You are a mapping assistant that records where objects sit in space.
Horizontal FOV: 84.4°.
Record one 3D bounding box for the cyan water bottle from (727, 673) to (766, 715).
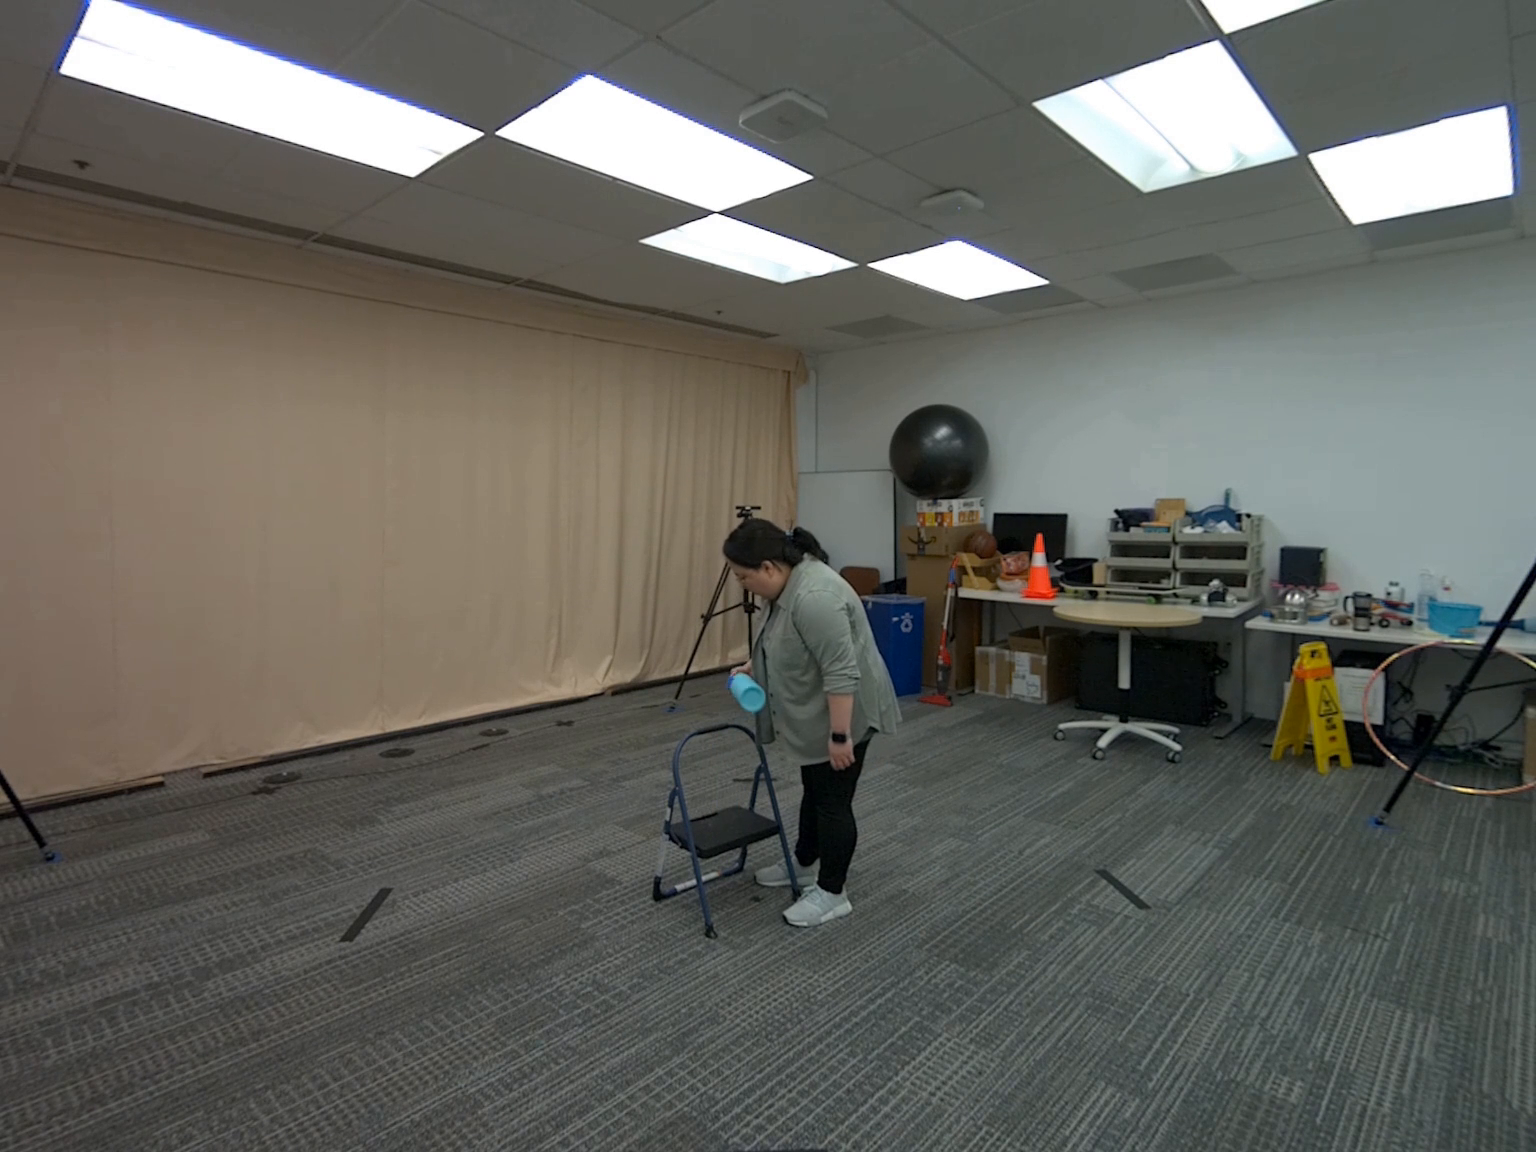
[{"bbox_3d":[-0.080,0.398,2.884,0.091,0.092,0.287,-1,4,-12],"label":"cyan water bottle"}]
